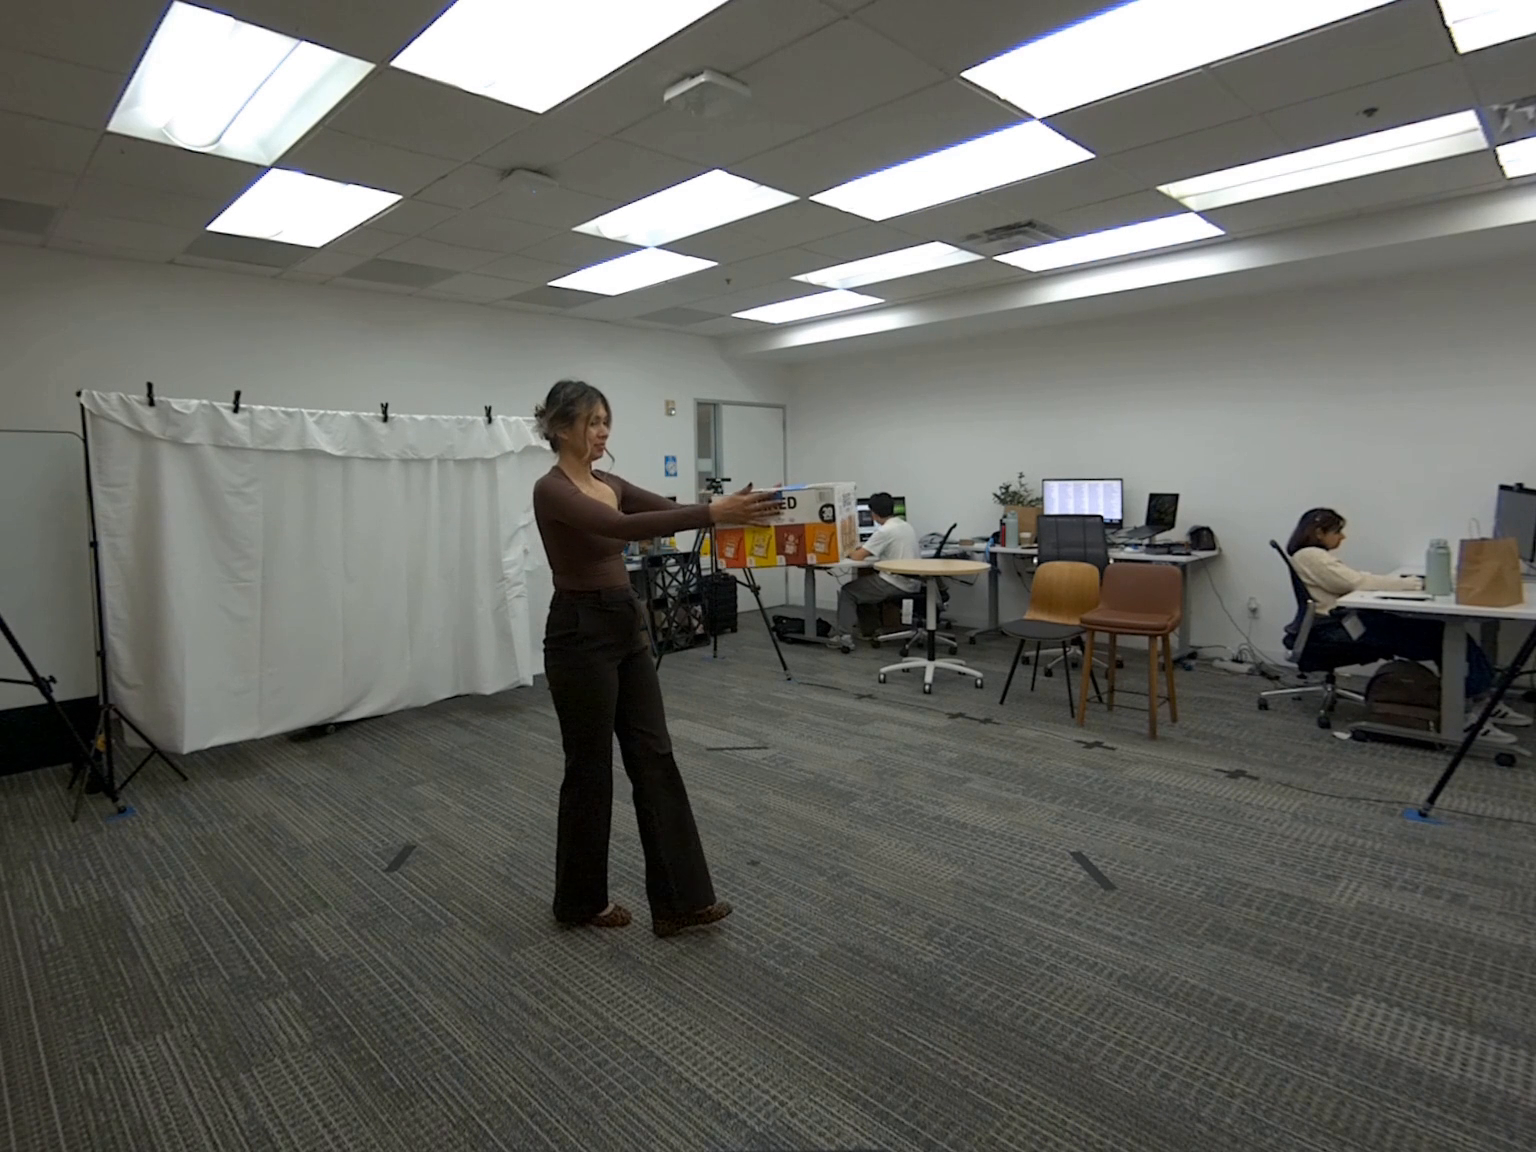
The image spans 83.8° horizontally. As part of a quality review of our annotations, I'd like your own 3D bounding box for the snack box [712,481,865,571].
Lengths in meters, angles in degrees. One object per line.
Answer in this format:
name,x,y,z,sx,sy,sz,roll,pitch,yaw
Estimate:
snack box,0.071,-0.153,2.471,0.345,0.205,0.401,-4,5,16
